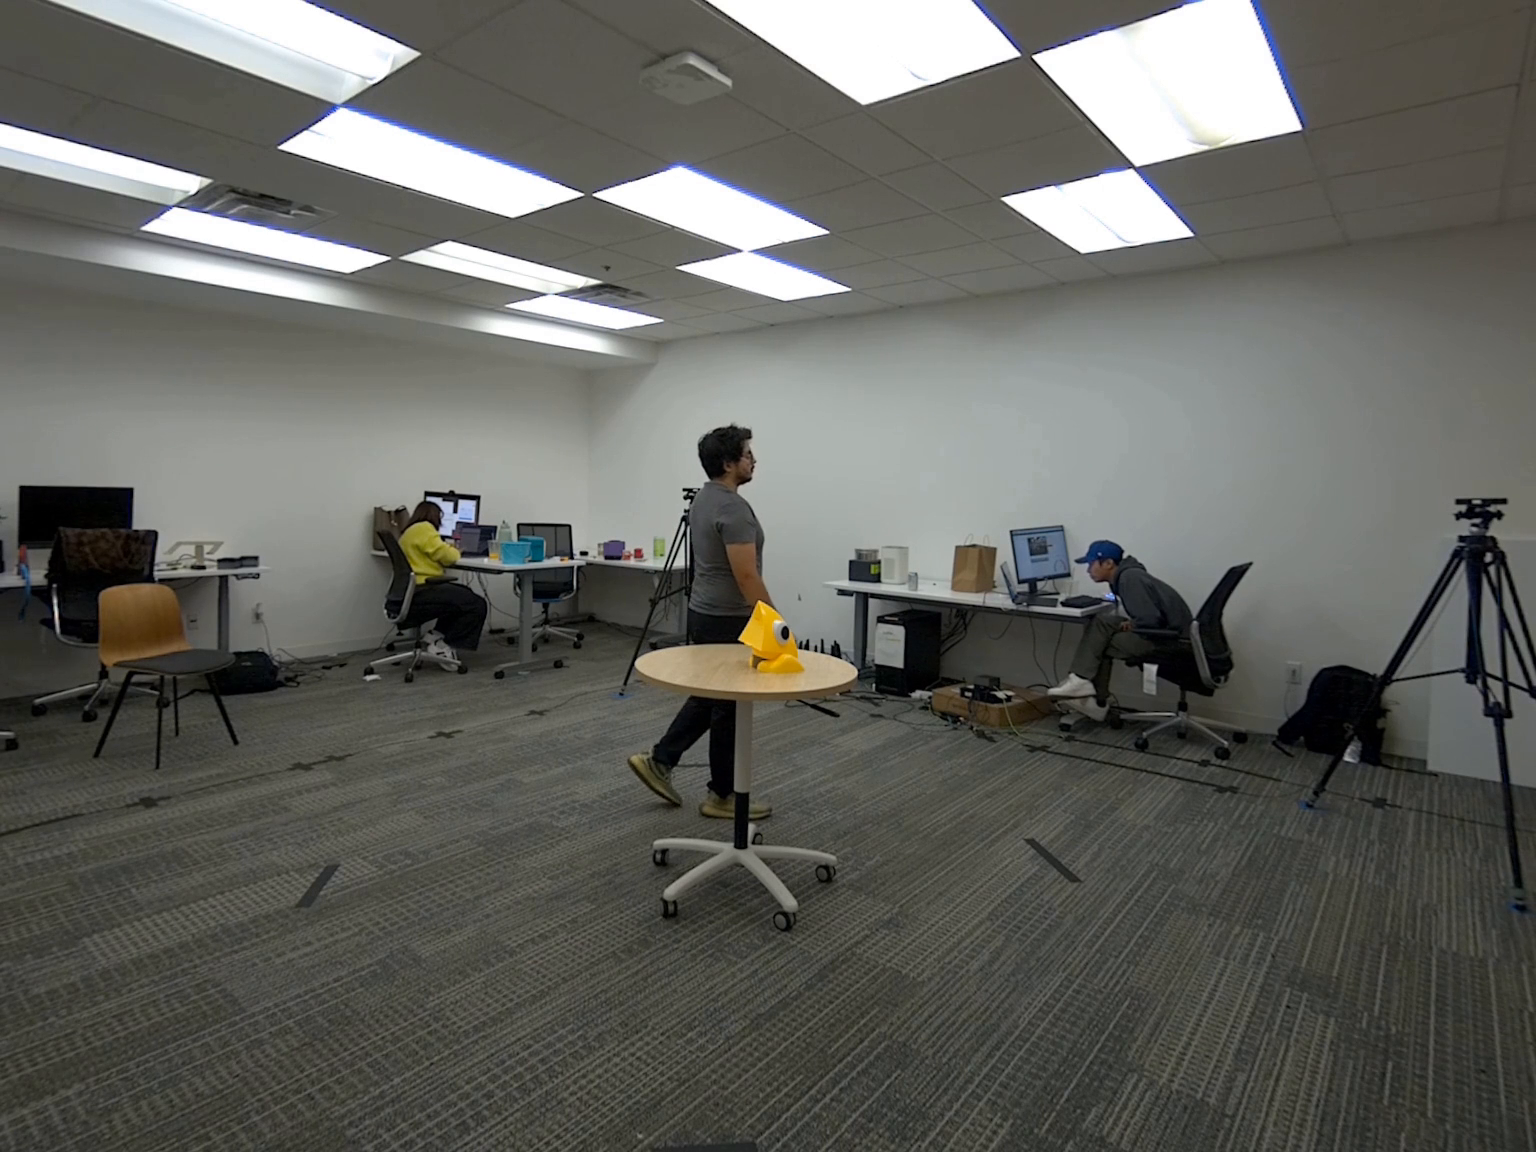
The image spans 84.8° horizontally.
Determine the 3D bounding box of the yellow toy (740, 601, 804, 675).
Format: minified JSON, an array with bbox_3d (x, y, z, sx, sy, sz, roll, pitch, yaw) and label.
[{"bbox_3d":[0.004,0.192,2.925,0.189,0.230,0.210,-2,5,-23],"label":"yellow toy"}]
